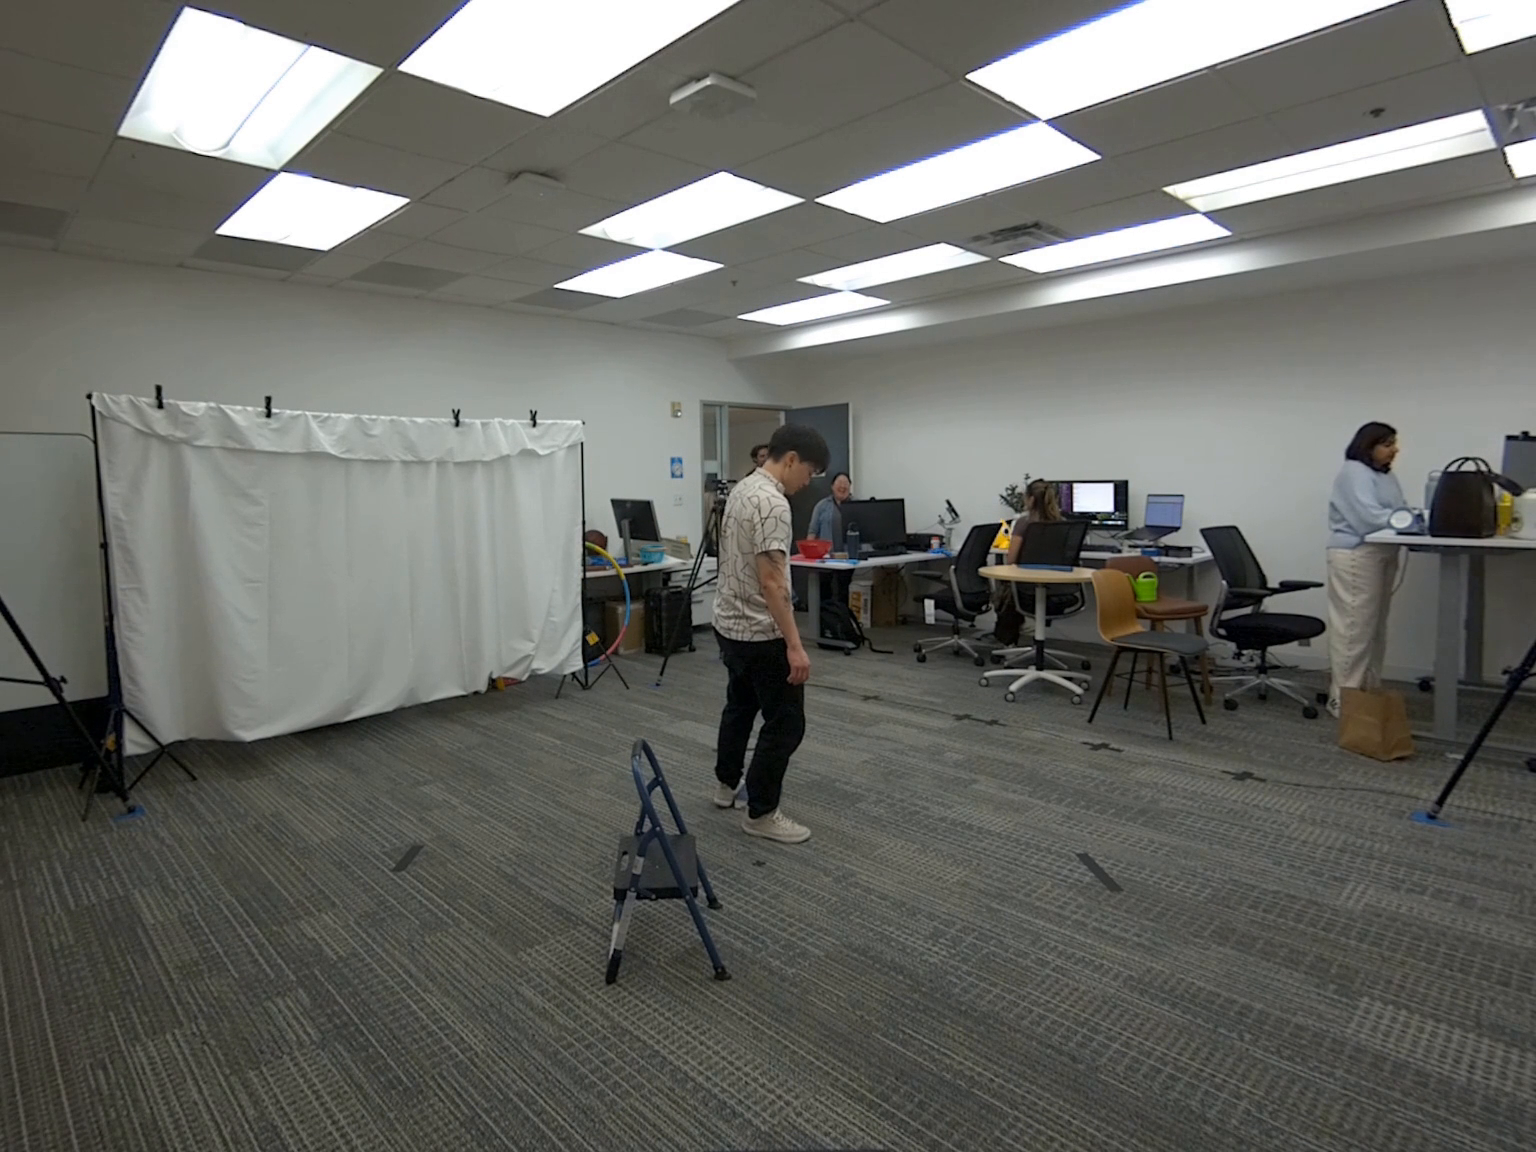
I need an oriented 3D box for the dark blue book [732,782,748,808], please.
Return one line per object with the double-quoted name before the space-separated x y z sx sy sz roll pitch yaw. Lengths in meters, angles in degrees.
"dark blue book" -0.038 0.951 3.728 0.166 0.045 0.243 0 7 13
